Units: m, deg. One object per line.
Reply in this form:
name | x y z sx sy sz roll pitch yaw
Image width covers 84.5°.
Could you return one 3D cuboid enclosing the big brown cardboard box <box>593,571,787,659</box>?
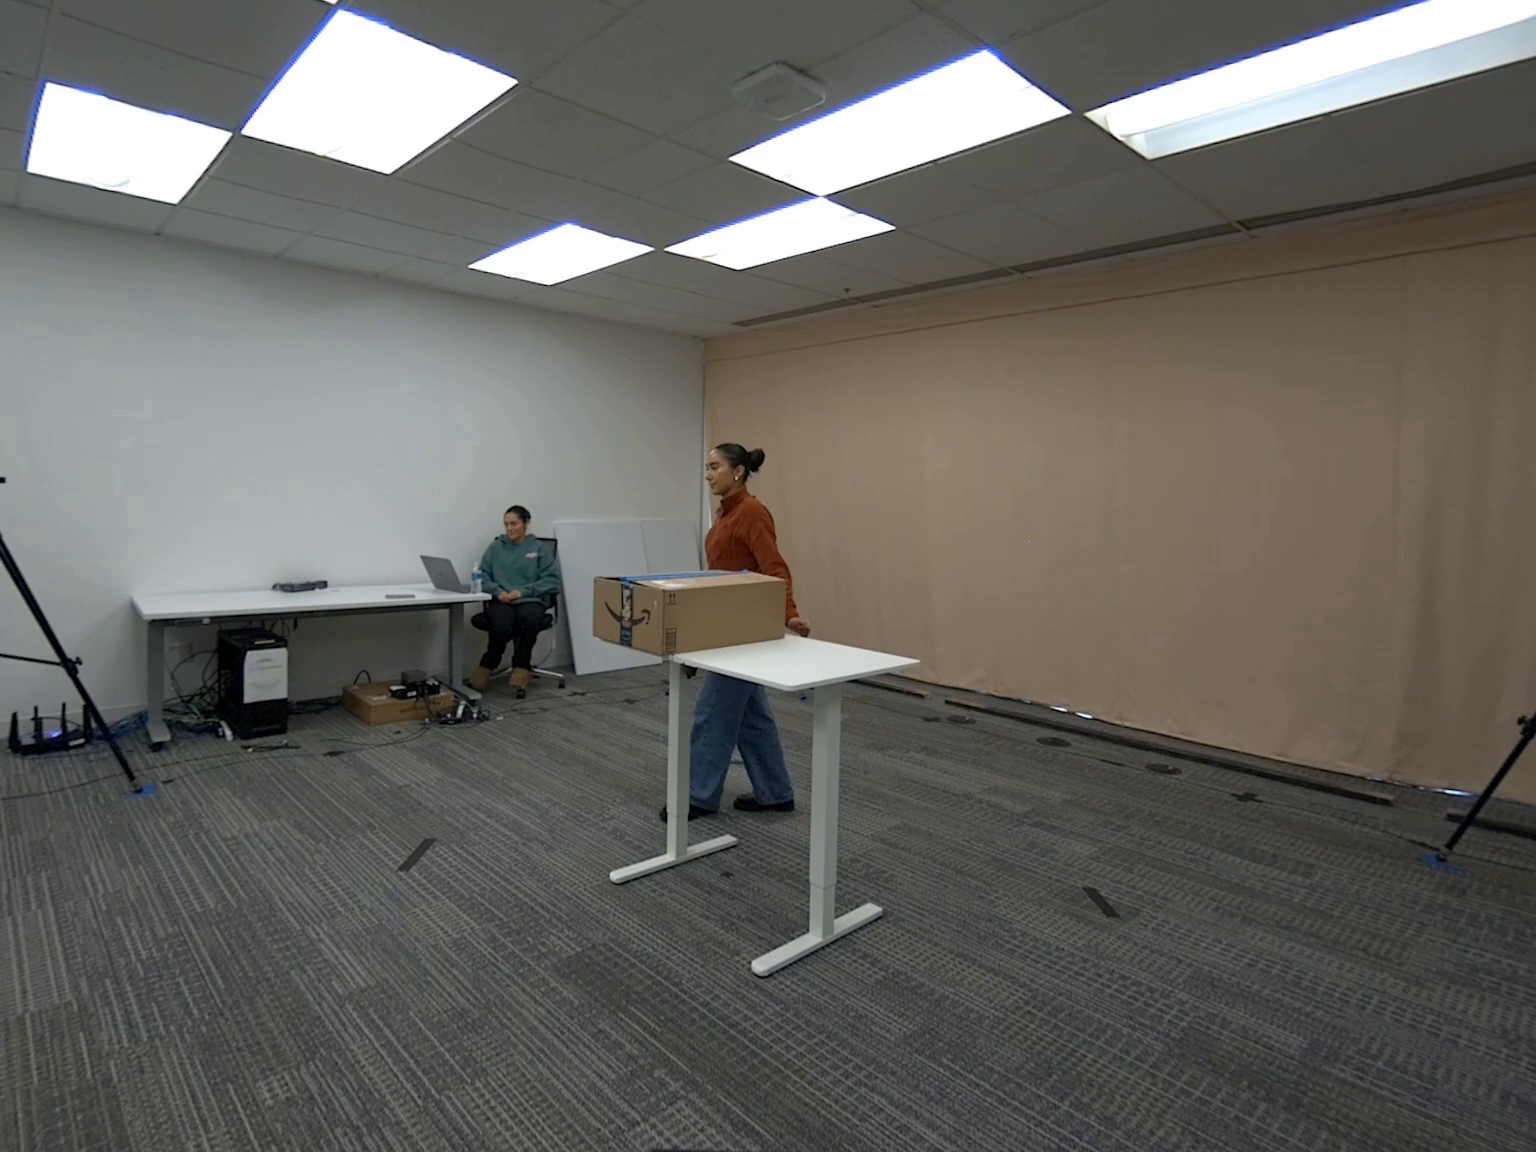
big brown cardboard box | -0.289 0.118 3.016 0.575 0.232 0.428 -2 7 -43
